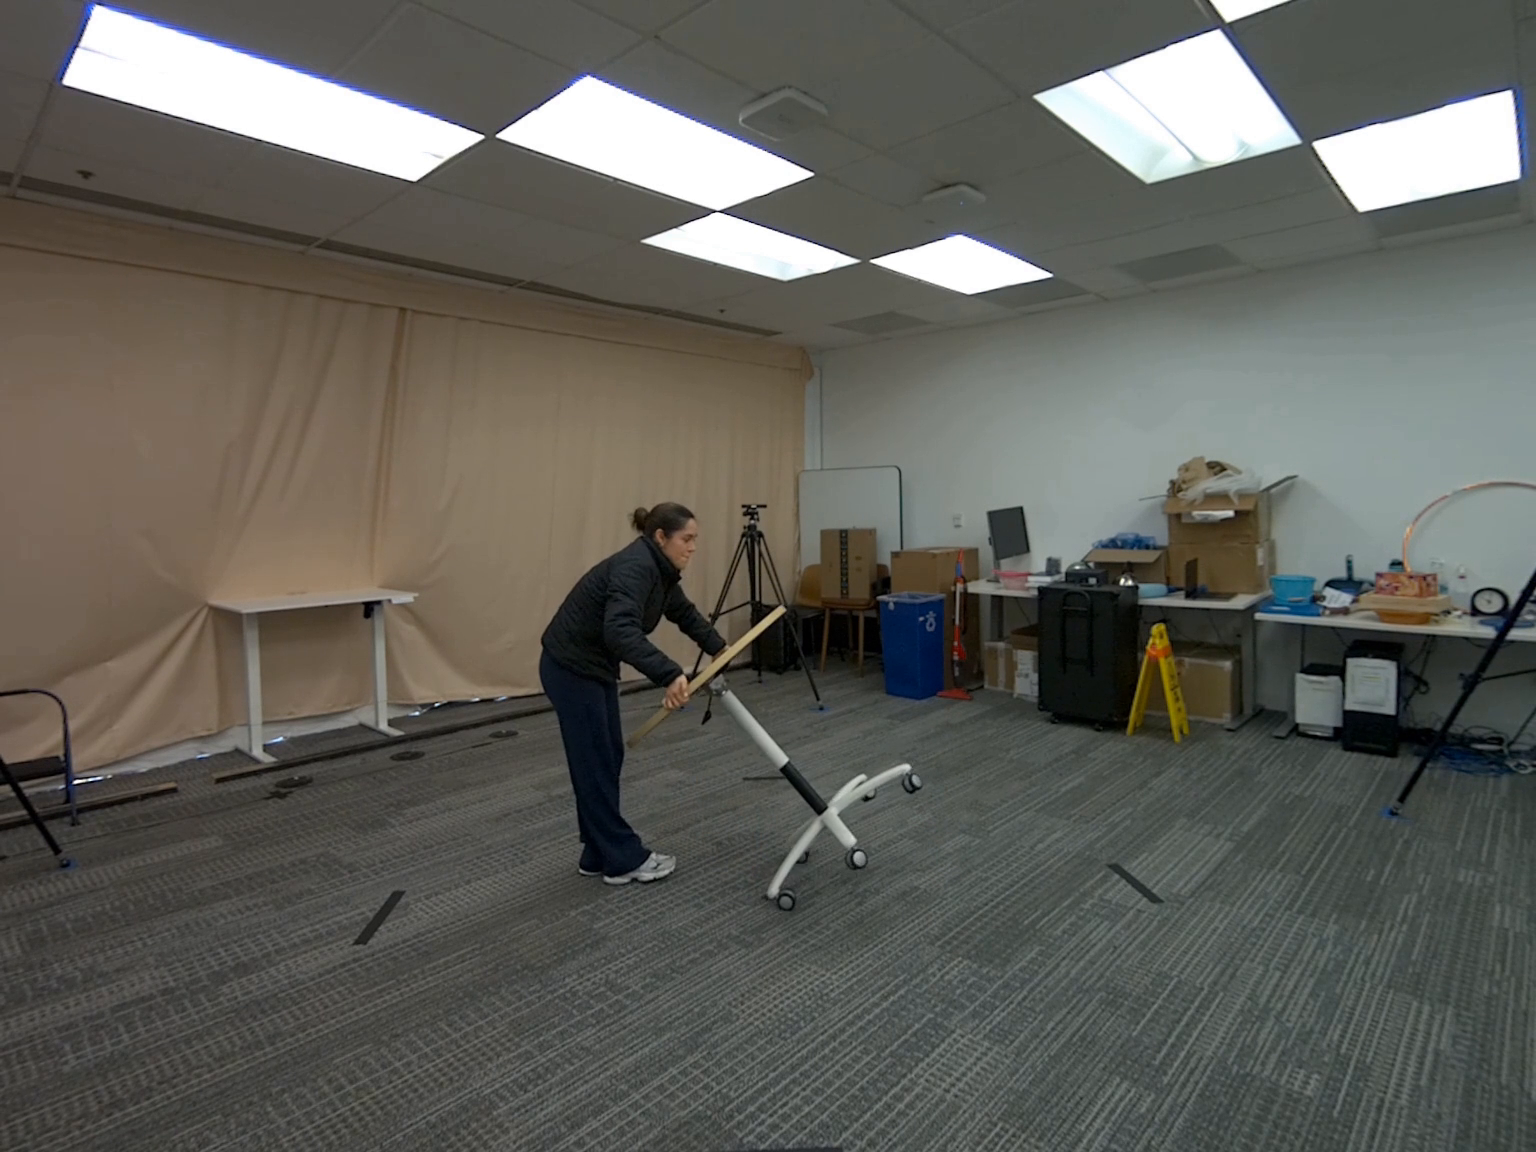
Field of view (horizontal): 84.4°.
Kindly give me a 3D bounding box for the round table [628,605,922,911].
[{"bbox_3d":[0.046,0.667,3.082,0.783,0.792,0.782,-40,-4,-6],"label":"round table"}]
